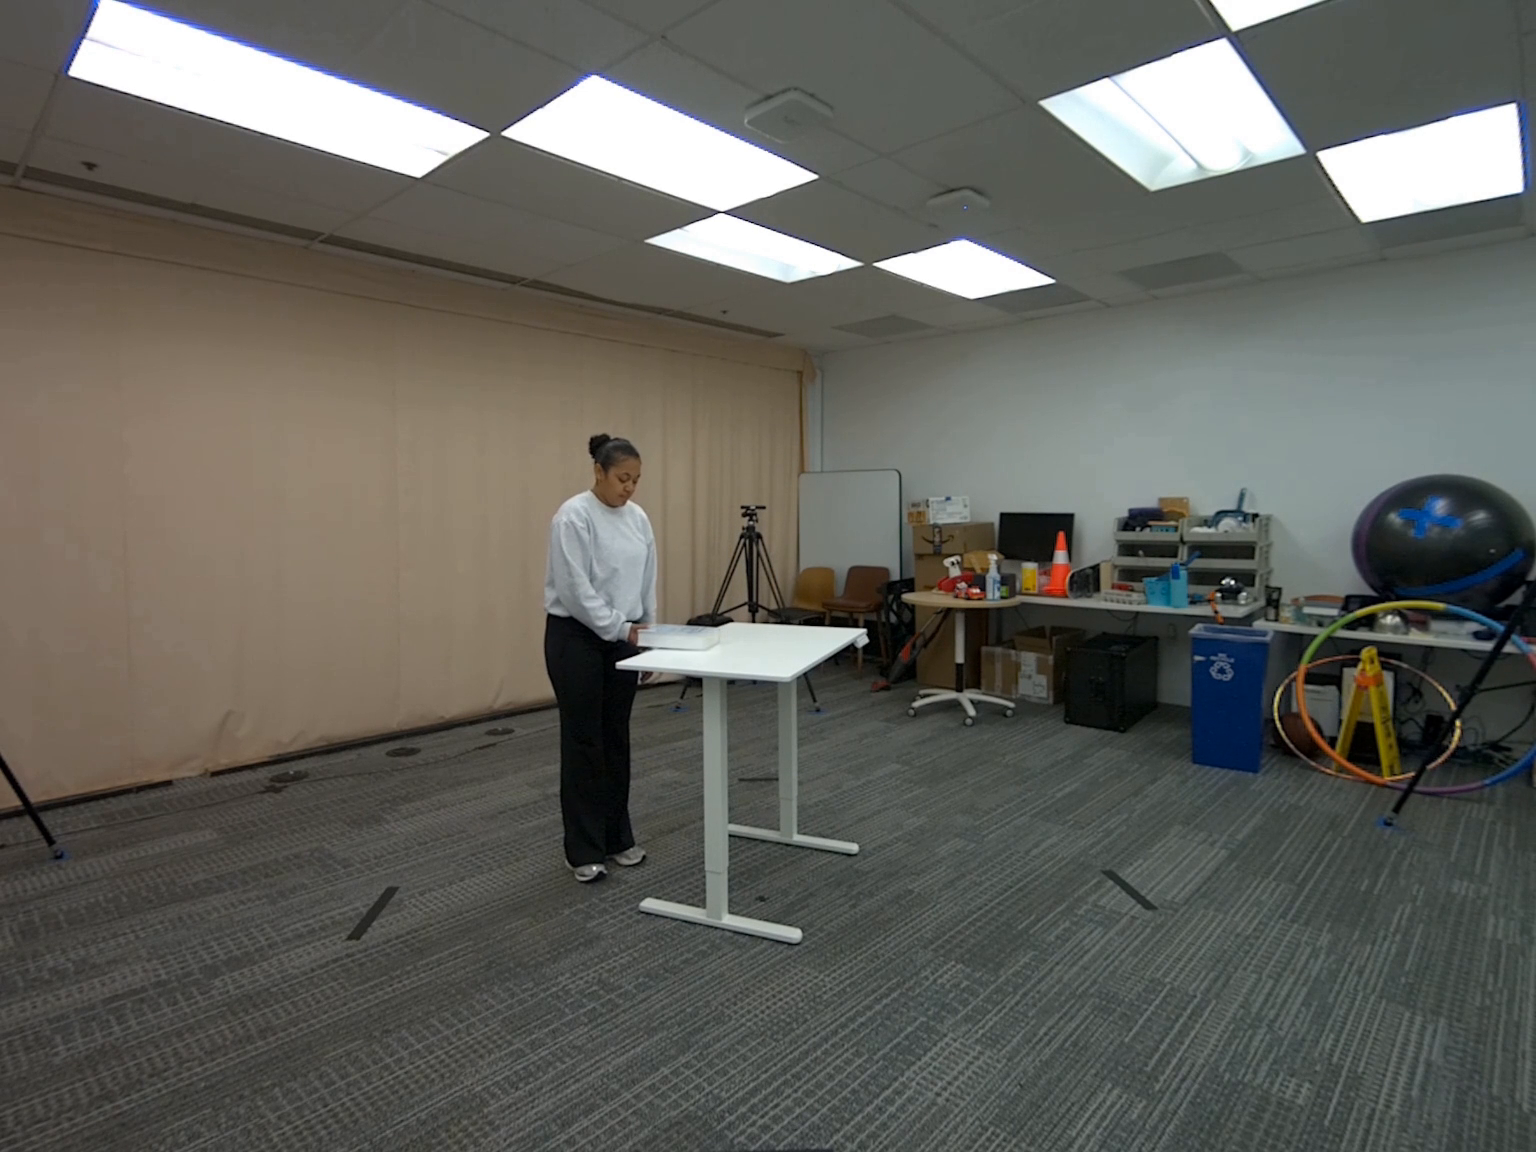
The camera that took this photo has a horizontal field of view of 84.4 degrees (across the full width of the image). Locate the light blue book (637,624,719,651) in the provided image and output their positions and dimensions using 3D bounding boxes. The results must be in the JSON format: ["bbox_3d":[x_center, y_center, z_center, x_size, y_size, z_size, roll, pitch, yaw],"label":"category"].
[{"bbox_3d":[-0.322,0.227,3.091,0.265,0.059,0.189,2,5,13],"label":"light blue book"}]
